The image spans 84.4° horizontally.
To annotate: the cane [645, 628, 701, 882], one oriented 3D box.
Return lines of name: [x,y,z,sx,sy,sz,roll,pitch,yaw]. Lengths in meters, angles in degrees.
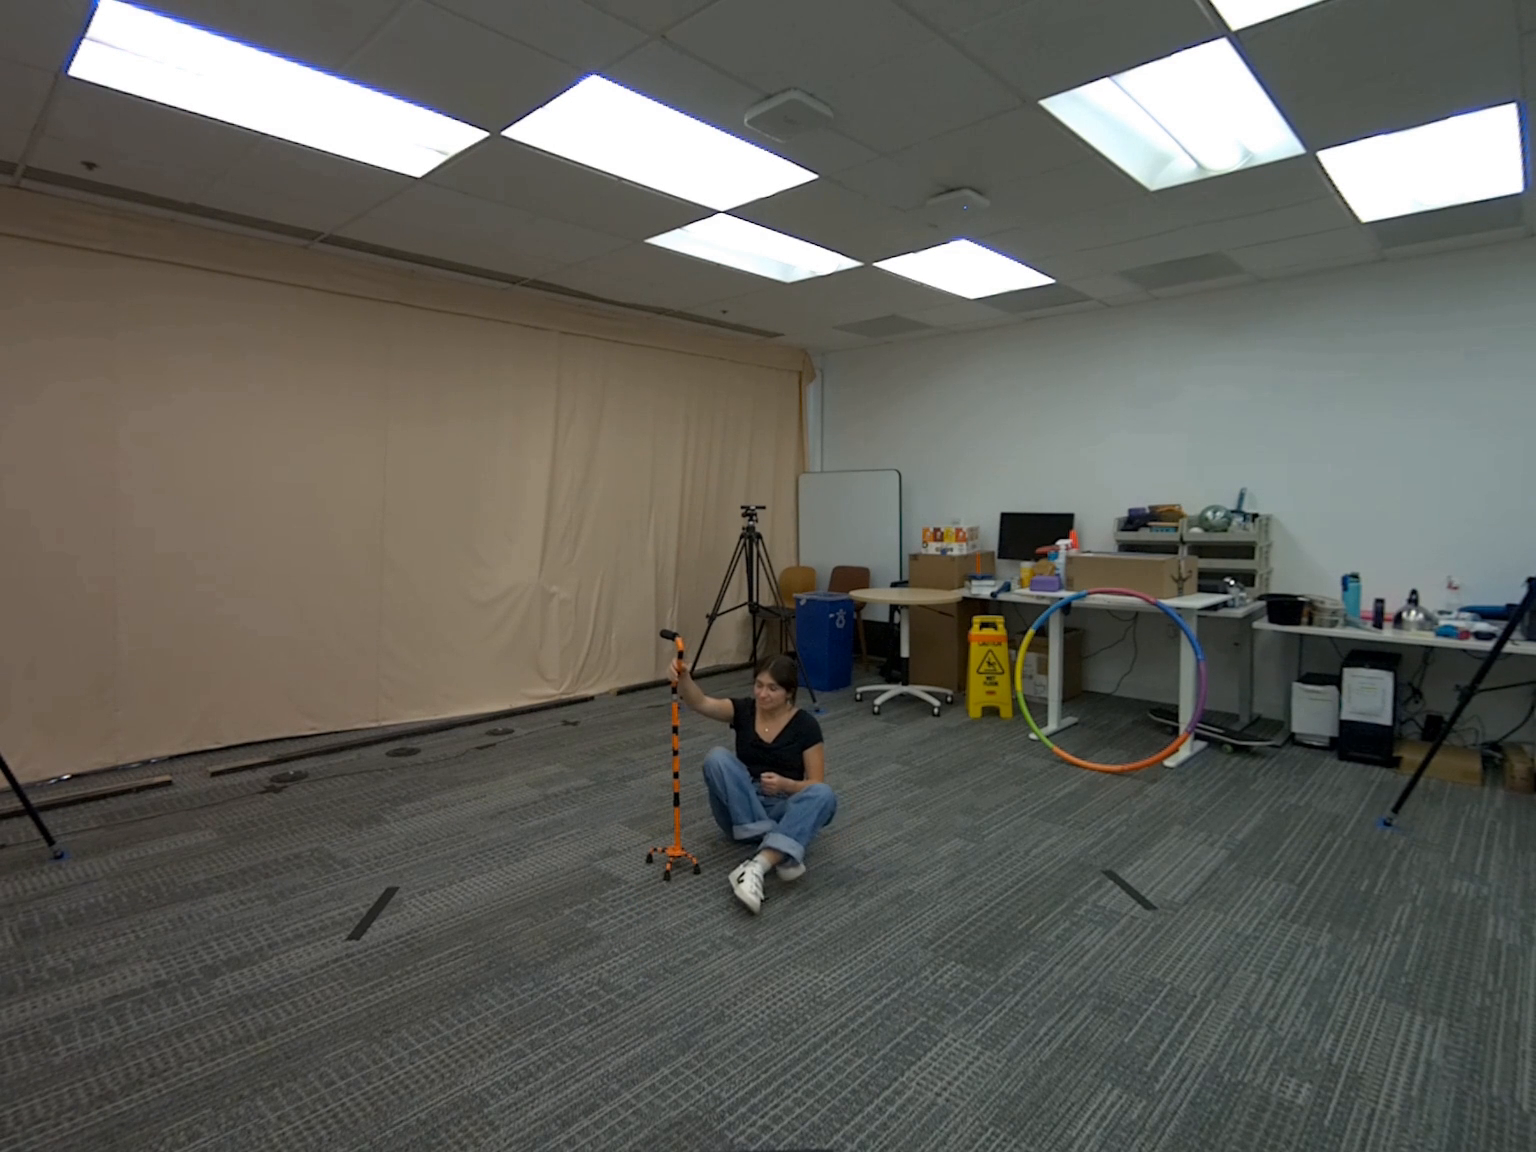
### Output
cane: [-0.367,0.673,3.222,0.147,0.906,0.212,-2,3,-32]
